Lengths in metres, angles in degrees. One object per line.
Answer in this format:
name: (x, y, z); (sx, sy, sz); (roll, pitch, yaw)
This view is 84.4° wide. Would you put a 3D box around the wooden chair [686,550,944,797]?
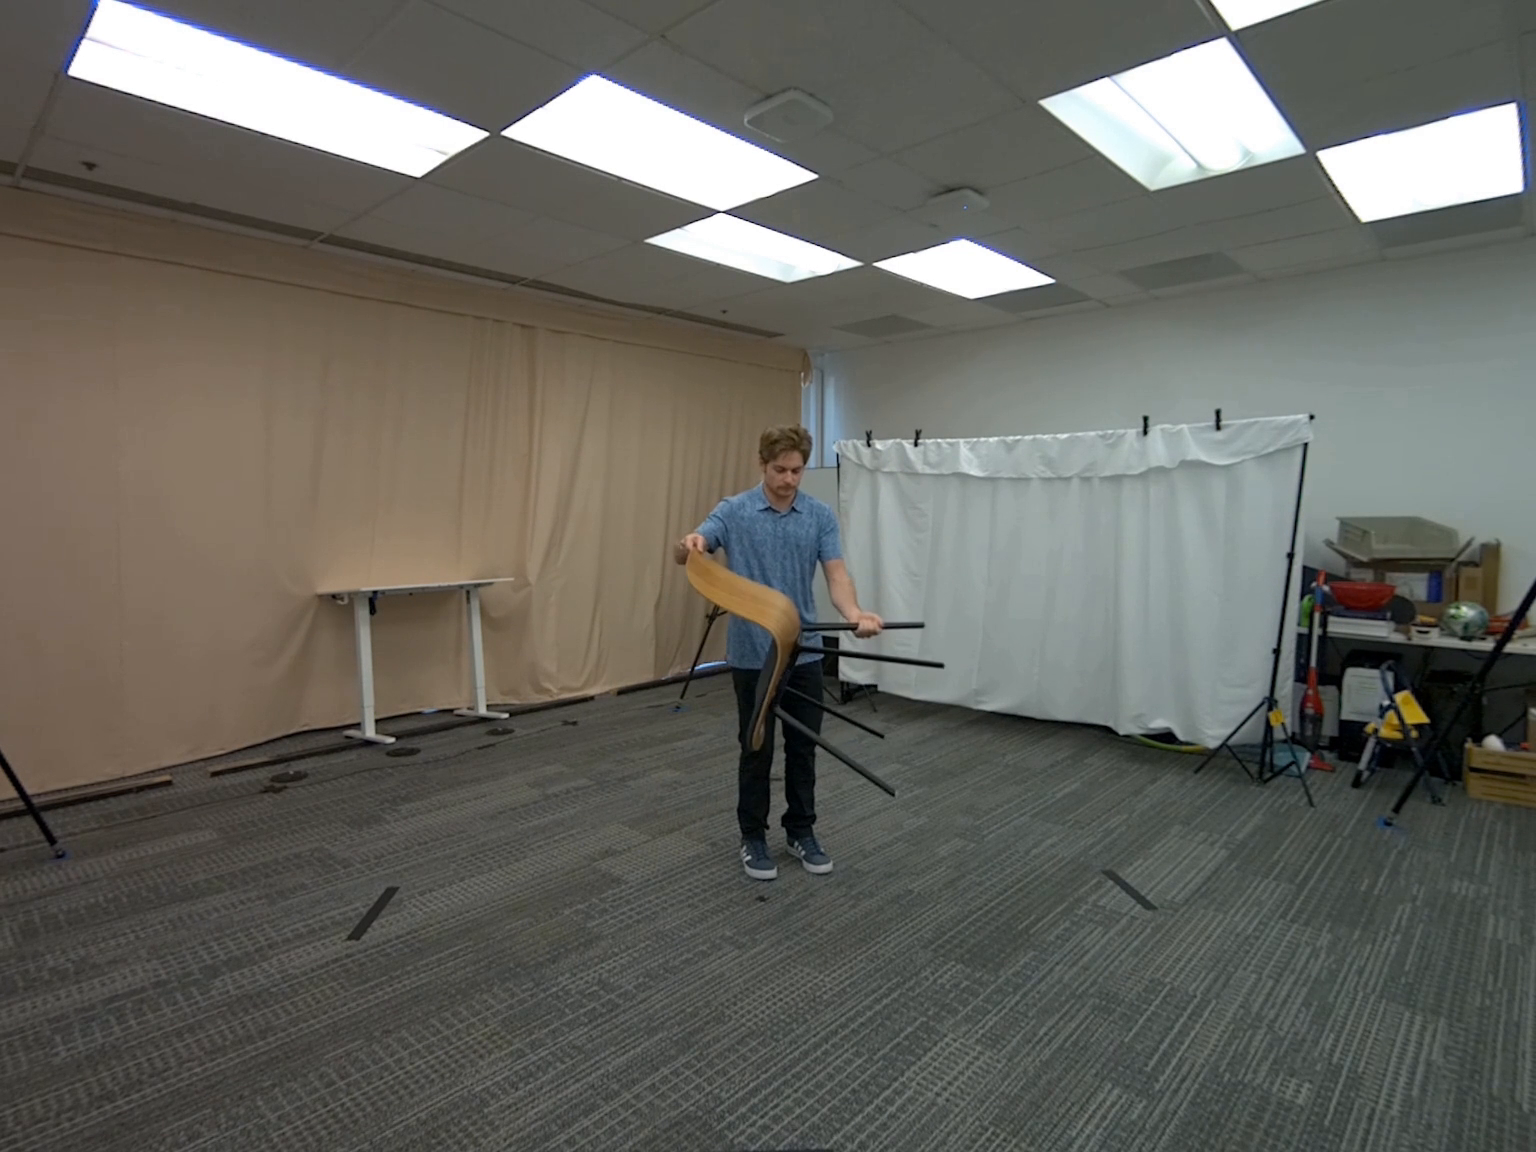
wooden chair: (0.065, 0.306, 2.800); (0.880, 0.521, 0.478); (21, 13, 2)
